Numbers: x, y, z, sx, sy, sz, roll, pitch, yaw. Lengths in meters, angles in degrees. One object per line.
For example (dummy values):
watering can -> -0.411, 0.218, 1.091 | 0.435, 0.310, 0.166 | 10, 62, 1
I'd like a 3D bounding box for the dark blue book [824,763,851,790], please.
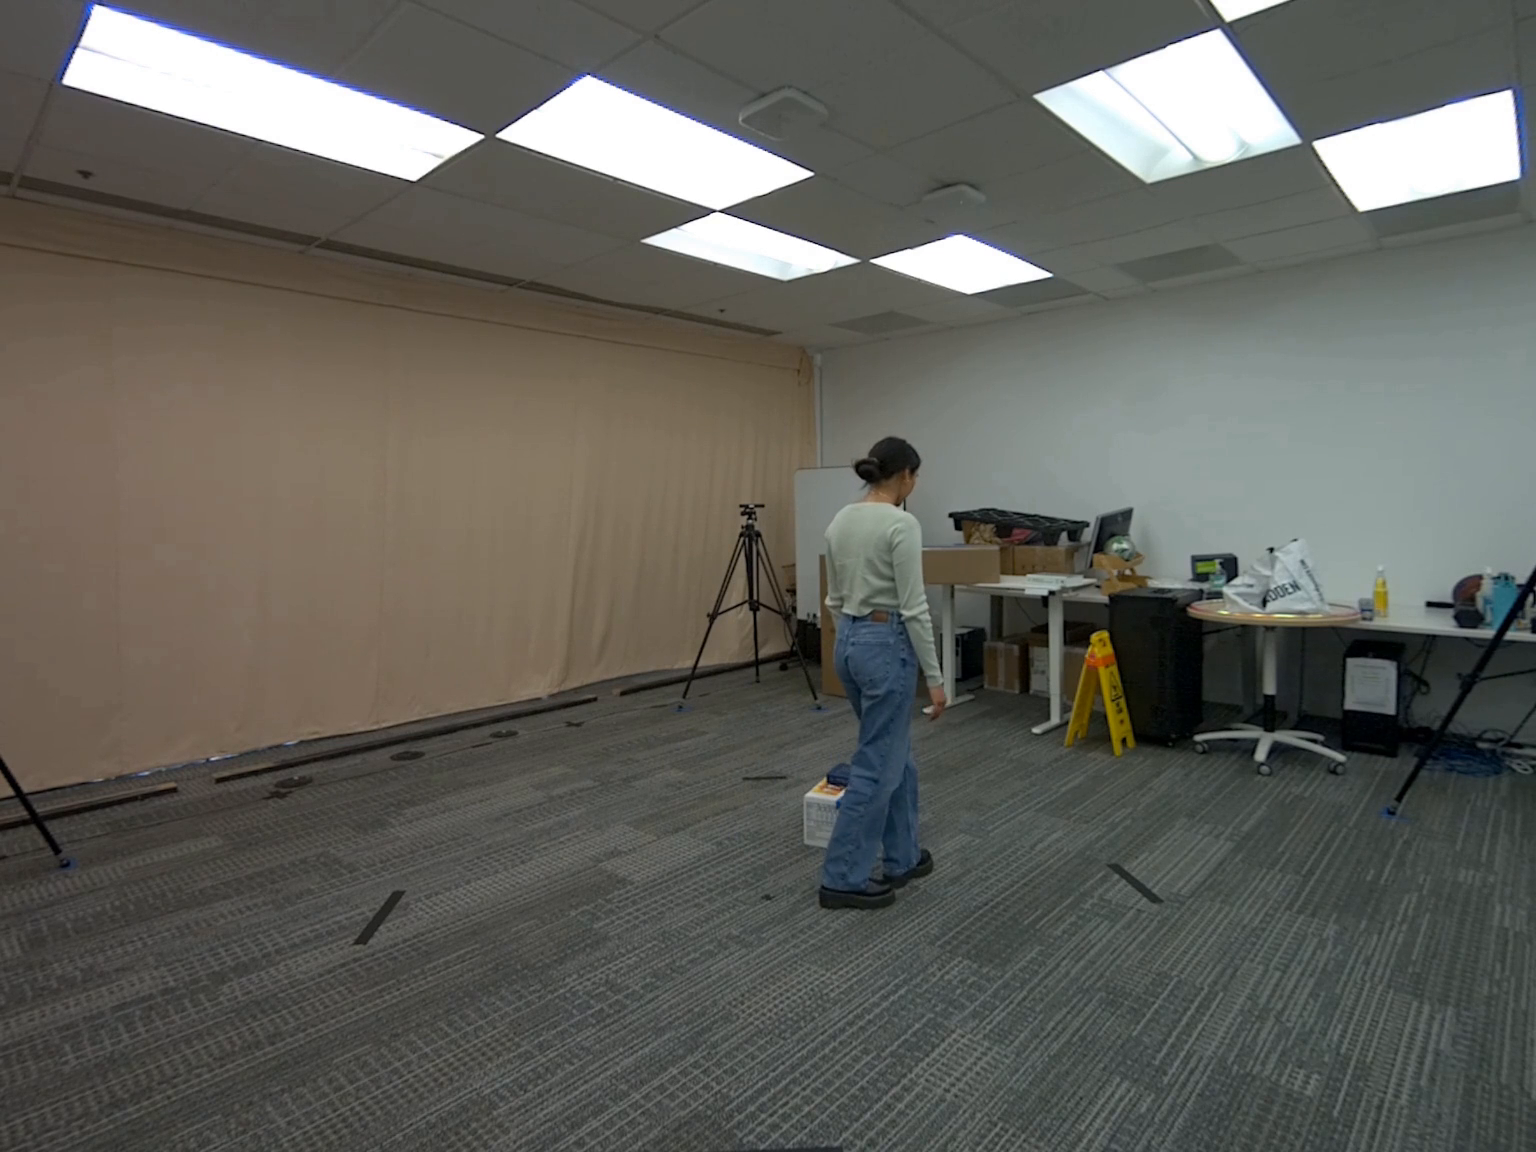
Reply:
dark blue book -> 0.397, 0.857, 3.599 | 0.252, 0.045, 0.159 | 2, 6, 28
